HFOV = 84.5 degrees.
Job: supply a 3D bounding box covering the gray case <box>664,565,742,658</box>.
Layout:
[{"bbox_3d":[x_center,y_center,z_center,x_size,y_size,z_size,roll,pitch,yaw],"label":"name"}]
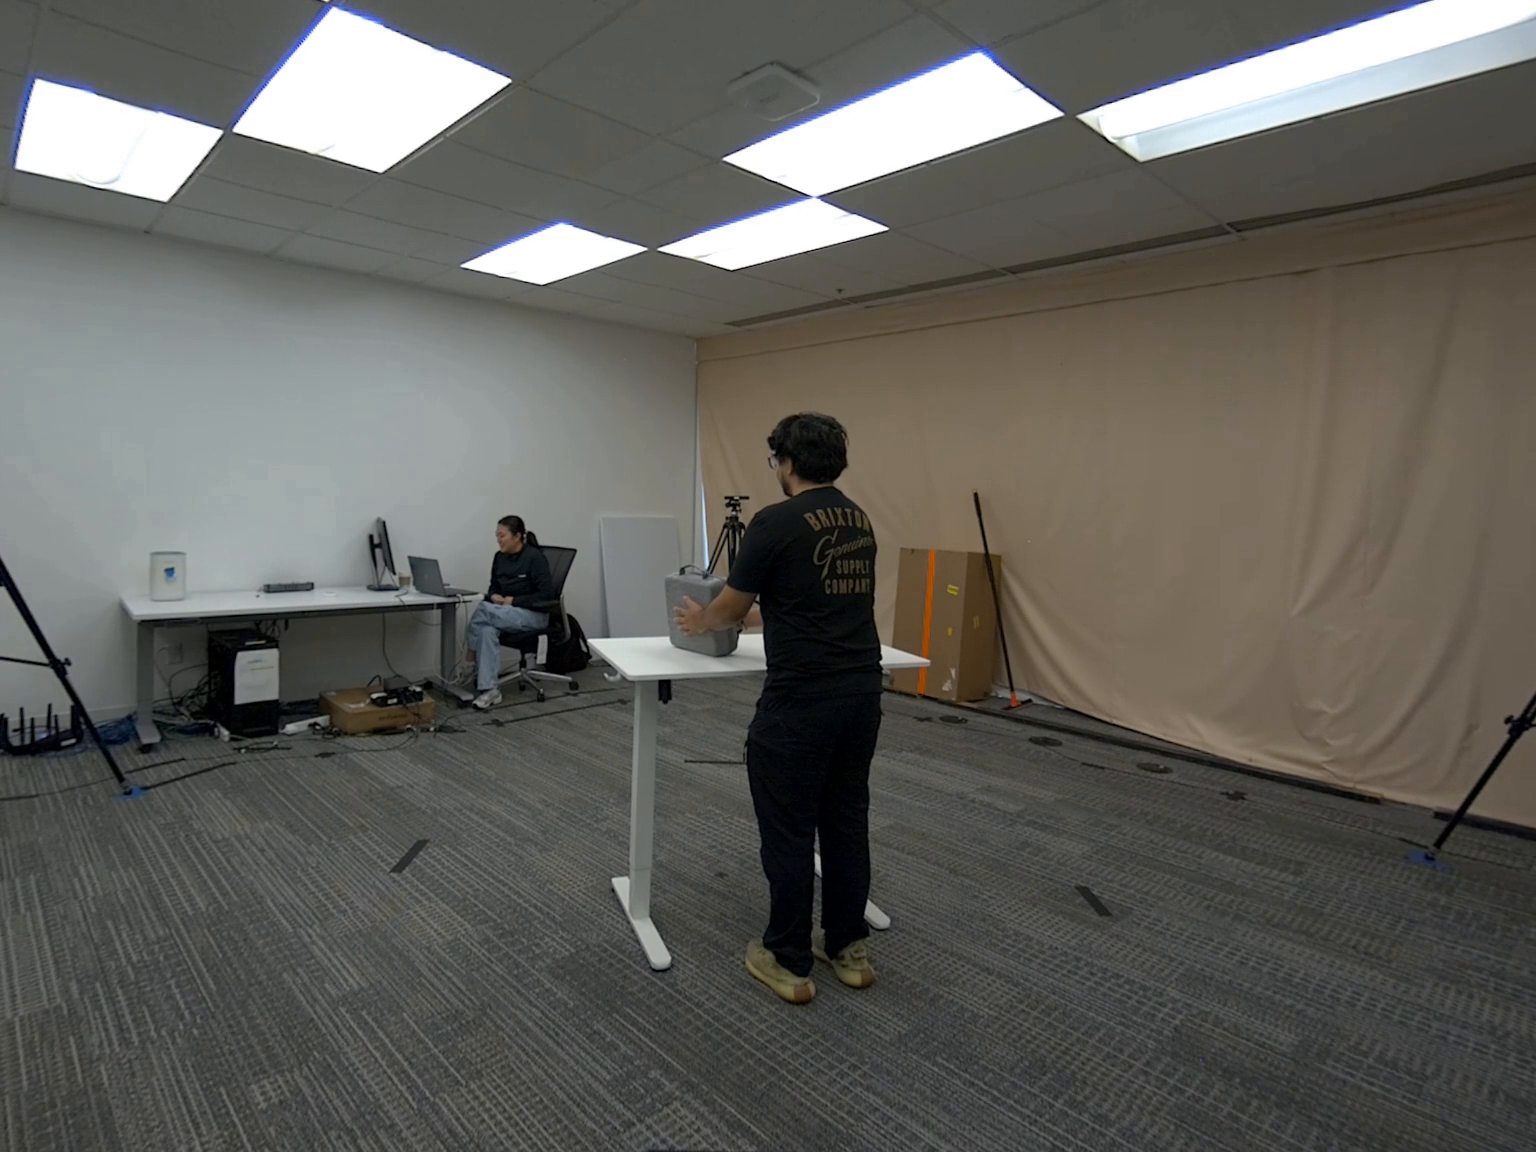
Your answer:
[{"bbox_3d":[-0.229,0.119,2.749,0.102,0.258,0.264,-15,15,-39],"label":"gray case"}]
